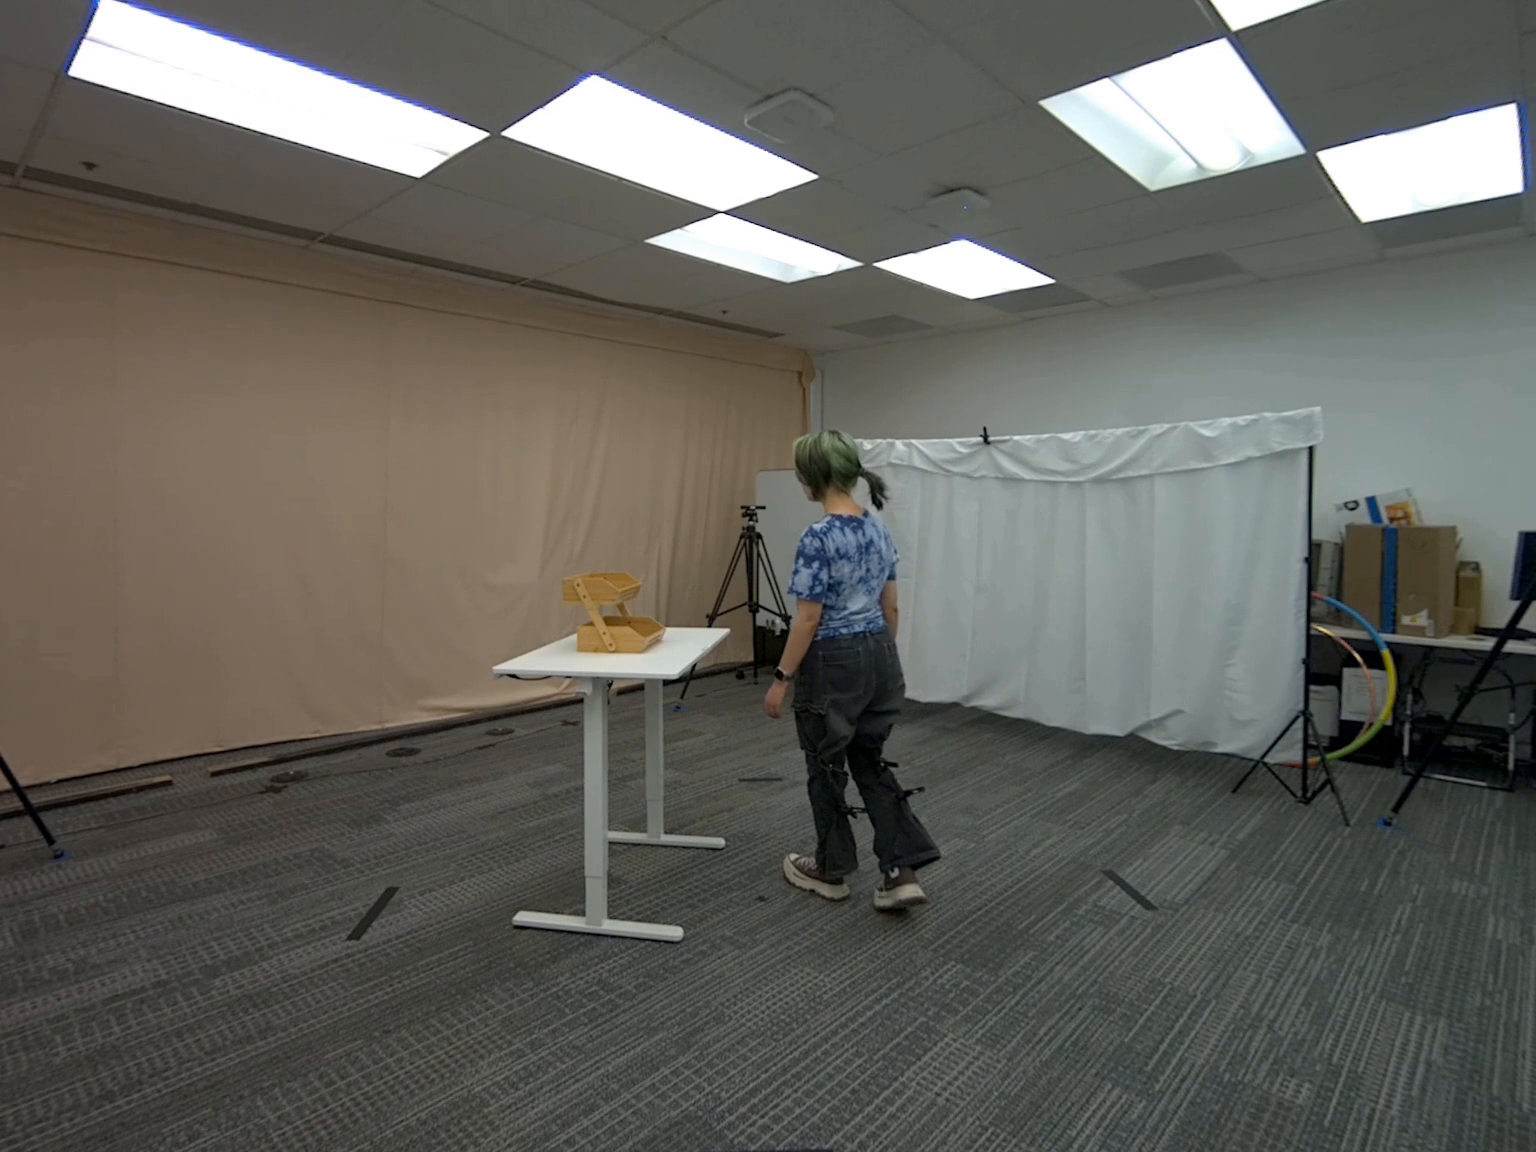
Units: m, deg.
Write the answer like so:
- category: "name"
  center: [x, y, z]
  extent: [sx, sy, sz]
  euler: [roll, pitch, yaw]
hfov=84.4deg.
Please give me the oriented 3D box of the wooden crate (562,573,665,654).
- category: "wooden crate"
  center: [-0.556, 0.127, 3.084]
  extent: [0.305, 0.273, 0.322]
  euler: [-1, 3, 8]
